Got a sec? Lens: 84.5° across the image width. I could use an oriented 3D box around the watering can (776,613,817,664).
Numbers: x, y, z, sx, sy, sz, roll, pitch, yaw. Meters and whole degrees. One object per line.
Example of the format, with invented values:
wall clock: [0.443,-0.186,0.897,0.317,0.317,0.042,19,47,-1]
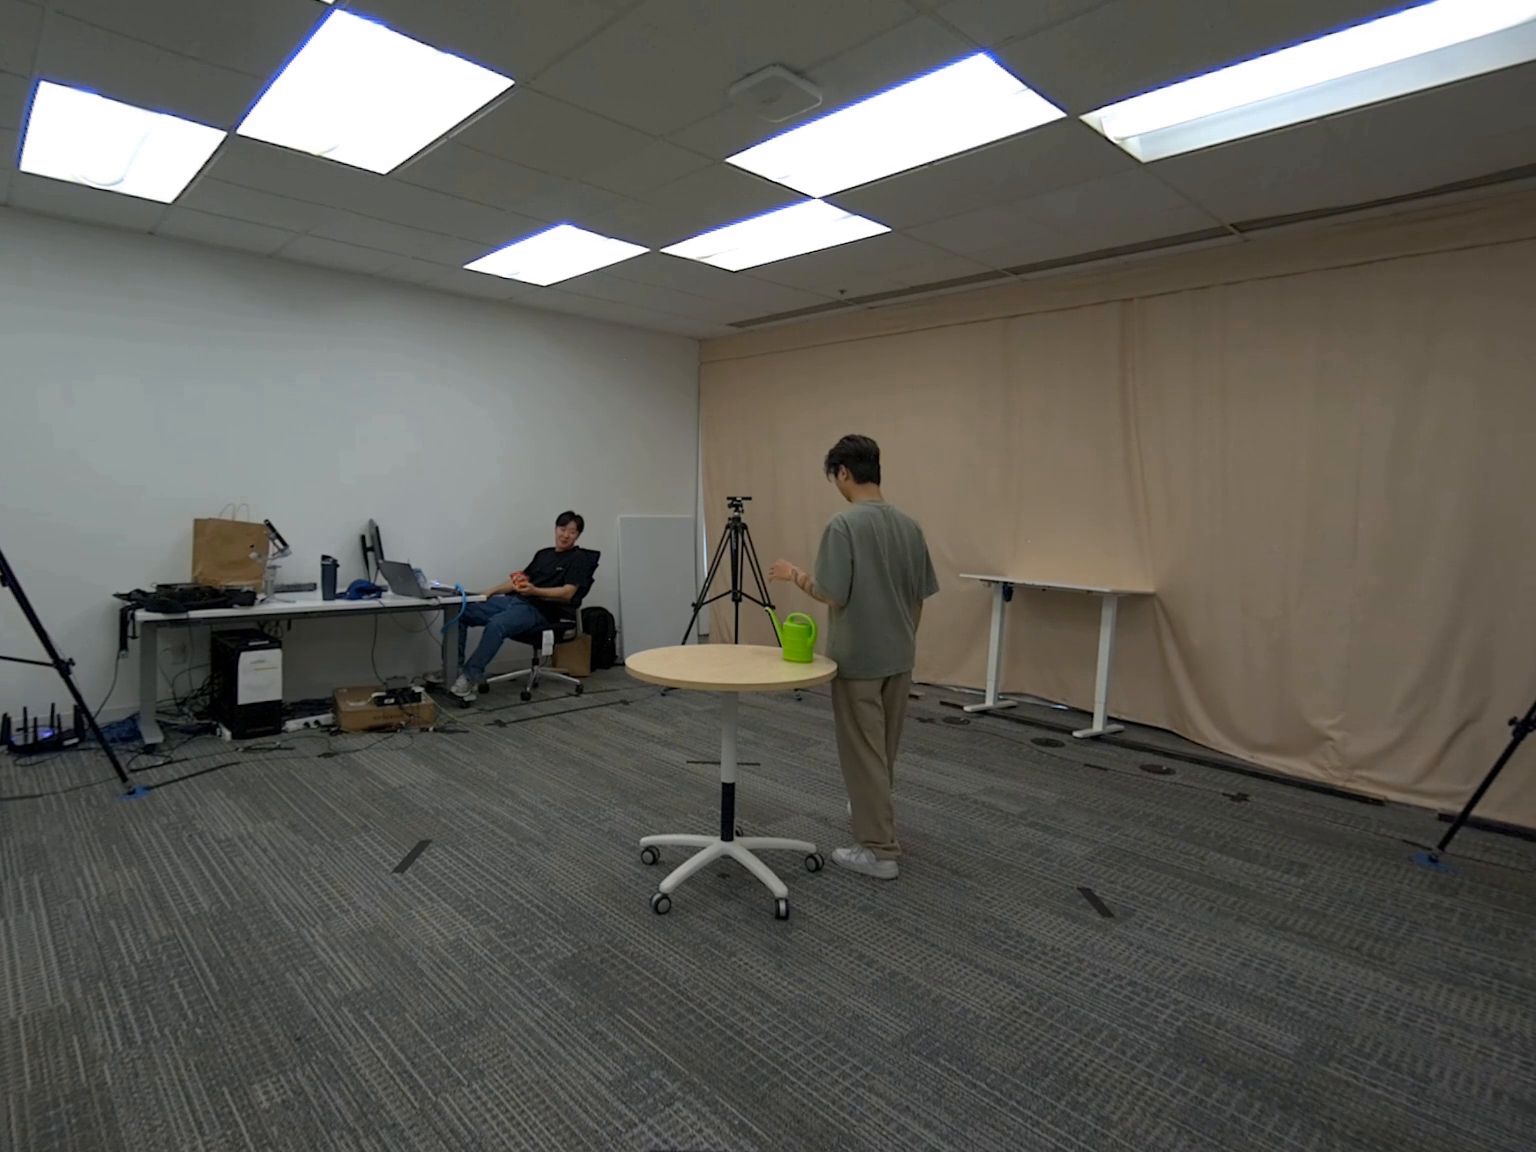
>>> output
watering can: [0.088,0.222,3.150,0.096,0.176,0.284,-2,6,-28]
